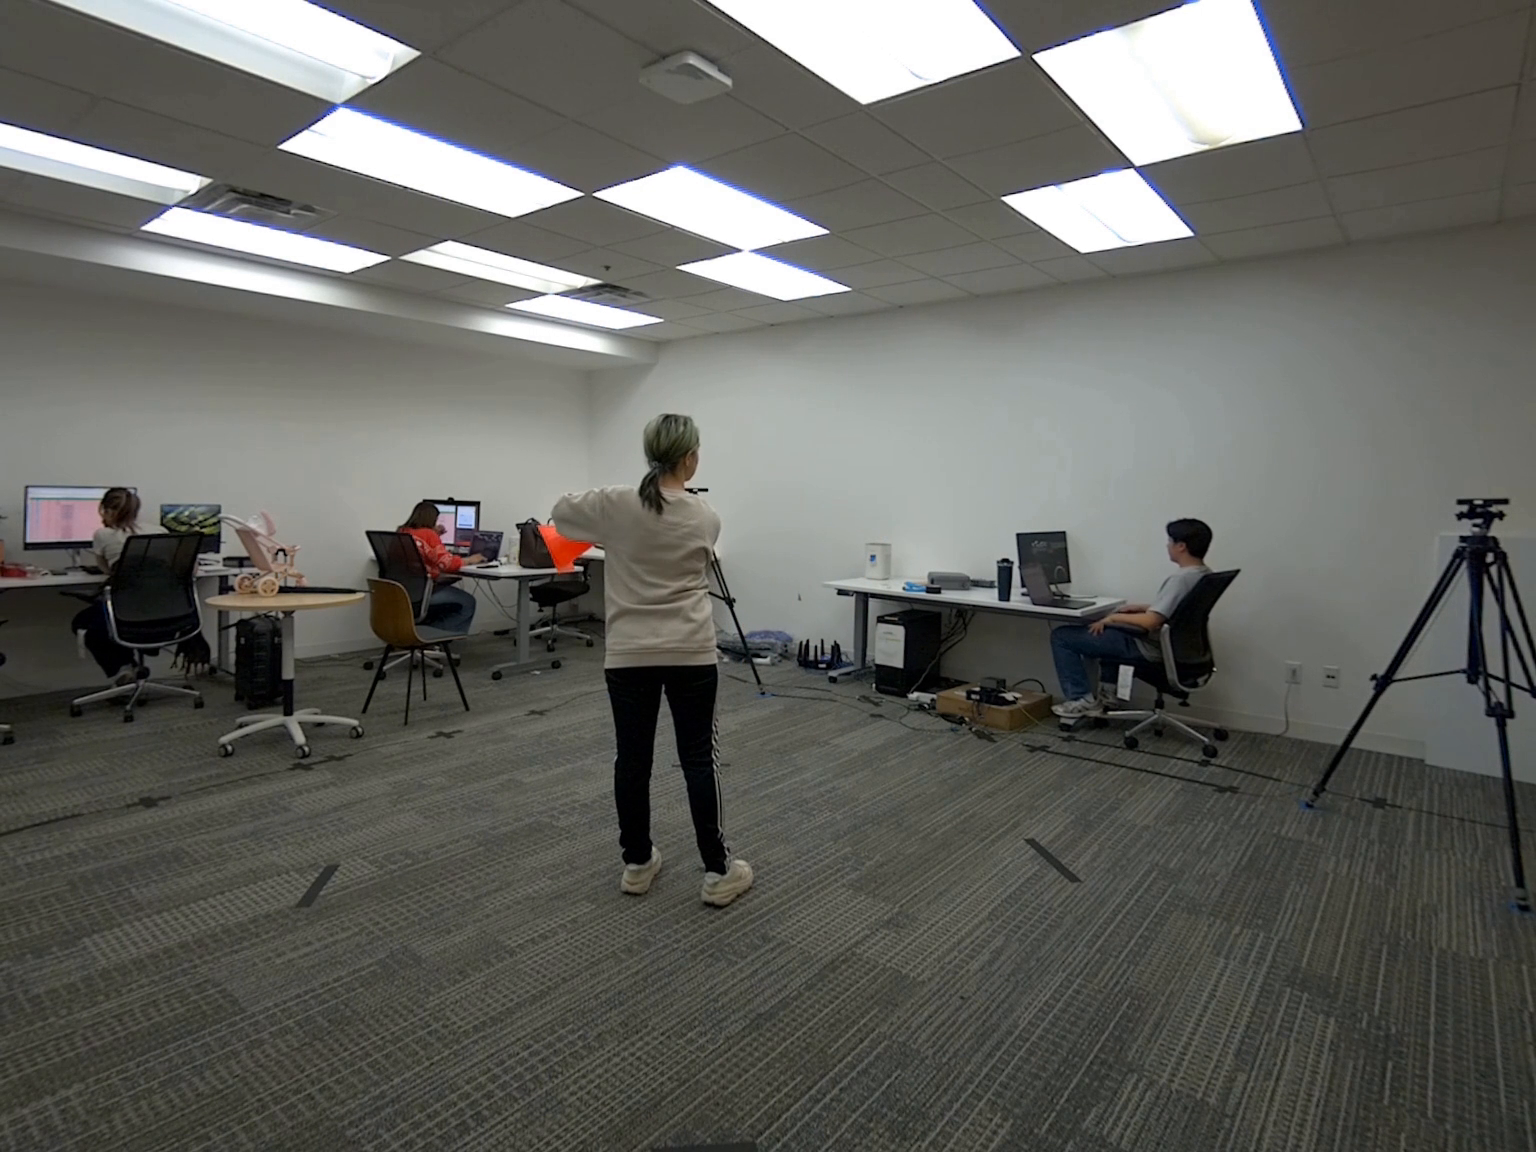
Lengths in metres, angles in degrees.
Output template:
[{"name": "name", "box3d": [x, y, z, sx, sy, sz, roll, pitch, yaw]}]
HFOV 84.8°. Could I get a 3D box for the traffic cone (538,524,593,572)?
[{"name": "traffic cone", "box3d": [-0.657, -0.174, 3.302, 0.385, 0.207, 0.200, -24, -8, 8]}]
